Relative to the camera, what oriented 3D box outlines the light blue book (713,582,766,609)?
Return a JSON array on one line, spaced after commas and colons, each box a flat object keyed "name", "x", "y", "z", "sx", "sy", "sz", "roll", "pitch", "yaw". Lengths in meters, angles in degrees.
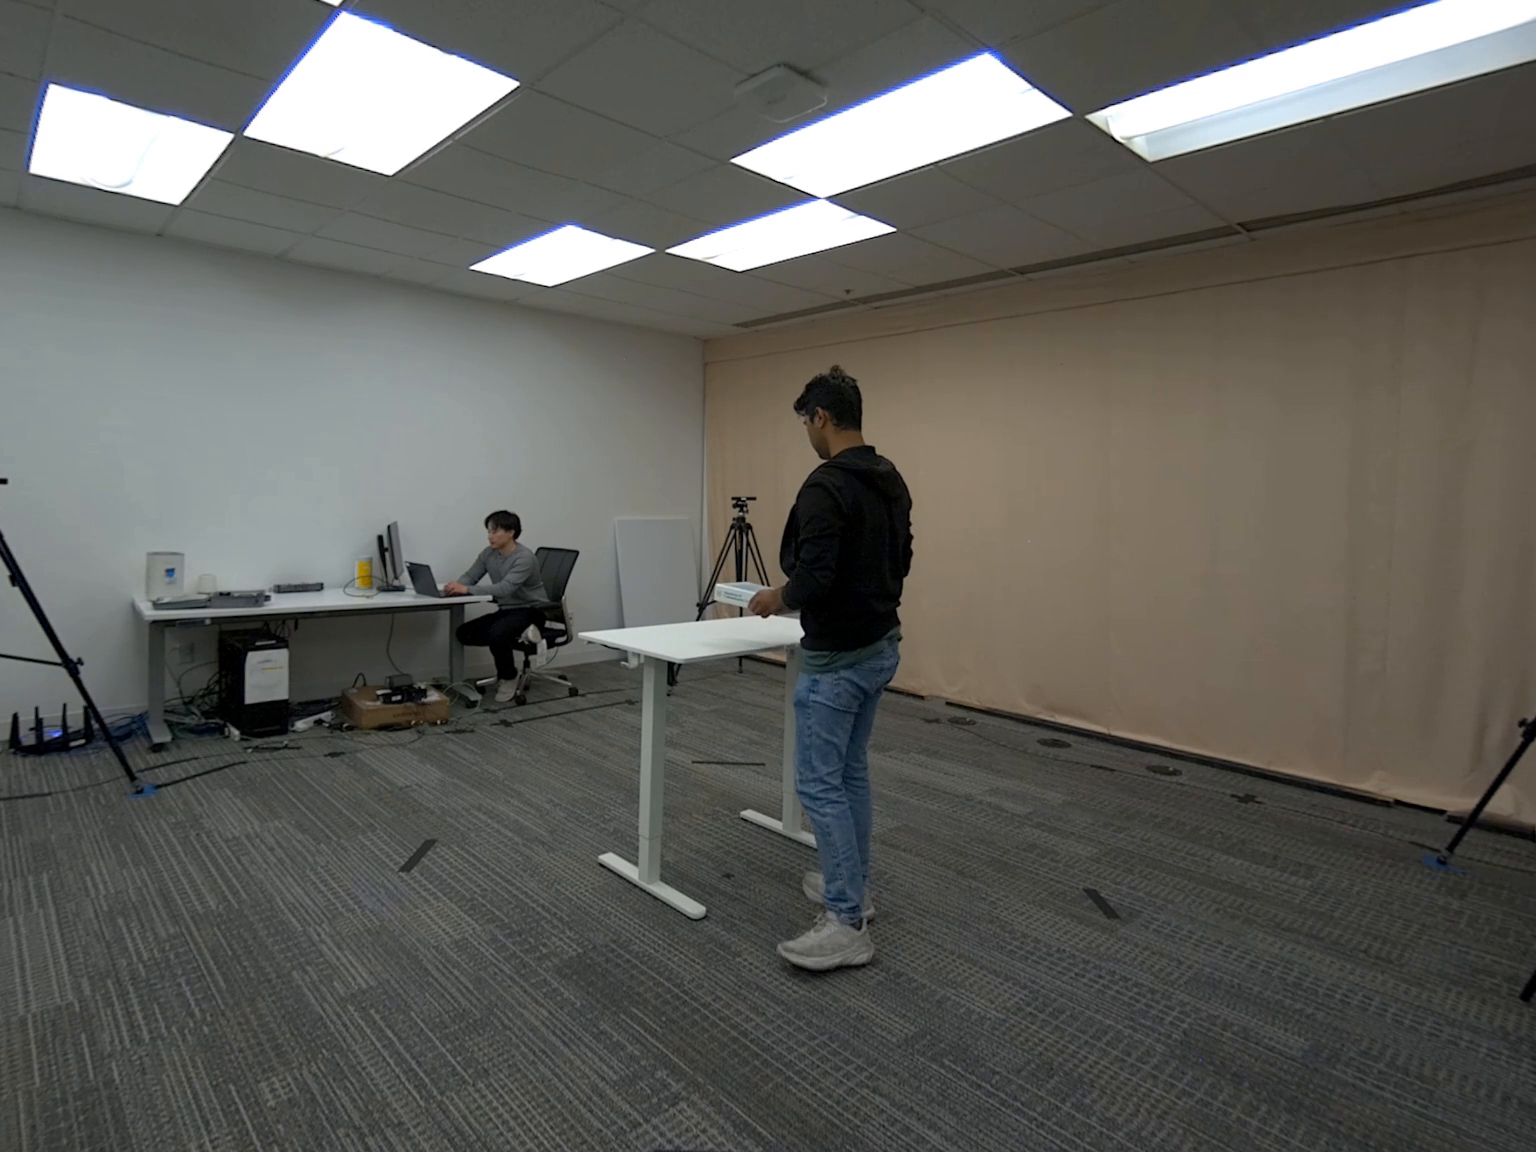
[{"name": "light blue book", "x": -0.032, "y": 0.084, "z": 2.918, "sx": 0.268, "sy": 0.059, "sz": 0.187, "roll": 11, "pitch": 8, "yaw": 34}]
